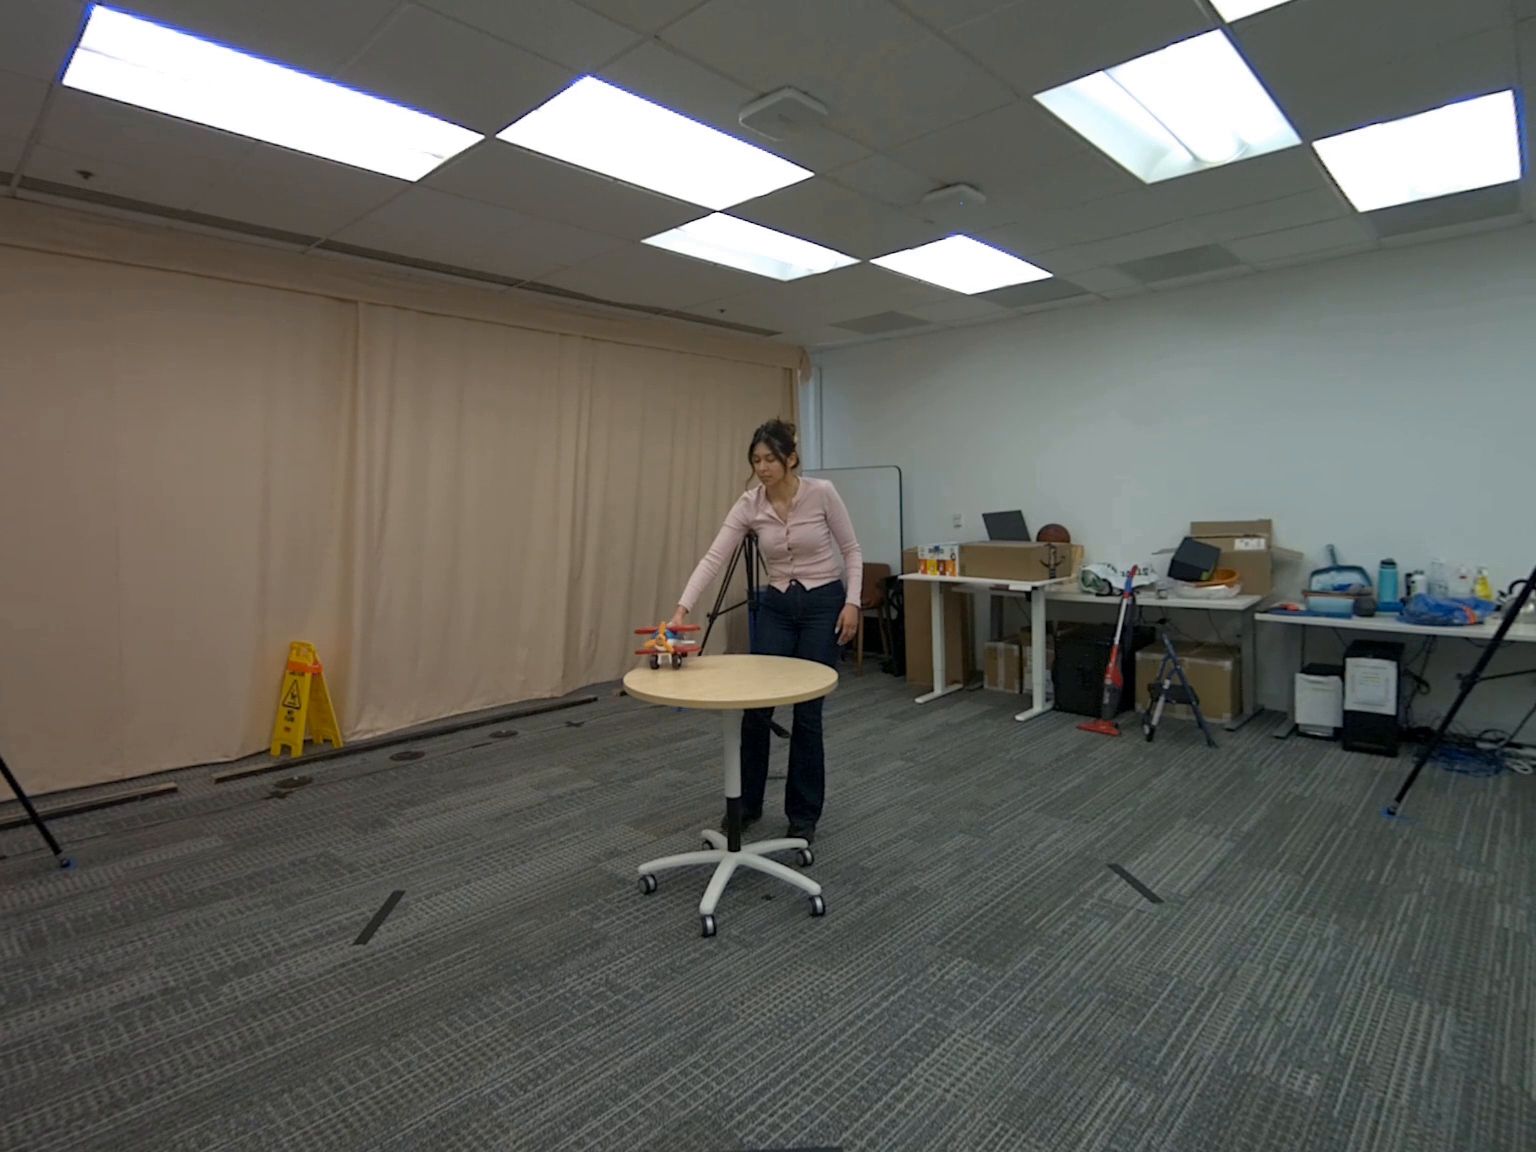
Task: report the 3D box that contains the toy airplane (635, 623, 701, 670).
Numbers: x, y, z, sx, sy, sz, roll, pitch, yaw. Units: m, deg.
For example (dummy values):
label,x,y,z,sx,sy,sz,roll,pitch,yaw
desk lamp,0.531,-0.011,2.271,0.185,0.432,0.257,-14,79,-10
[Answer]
label,x,y,z,sx,sy,sz,roll,pitch,yaw
toy airplane,-0.394,0.259,3.233,0.247,0.156,0.264,-7,7,-16
